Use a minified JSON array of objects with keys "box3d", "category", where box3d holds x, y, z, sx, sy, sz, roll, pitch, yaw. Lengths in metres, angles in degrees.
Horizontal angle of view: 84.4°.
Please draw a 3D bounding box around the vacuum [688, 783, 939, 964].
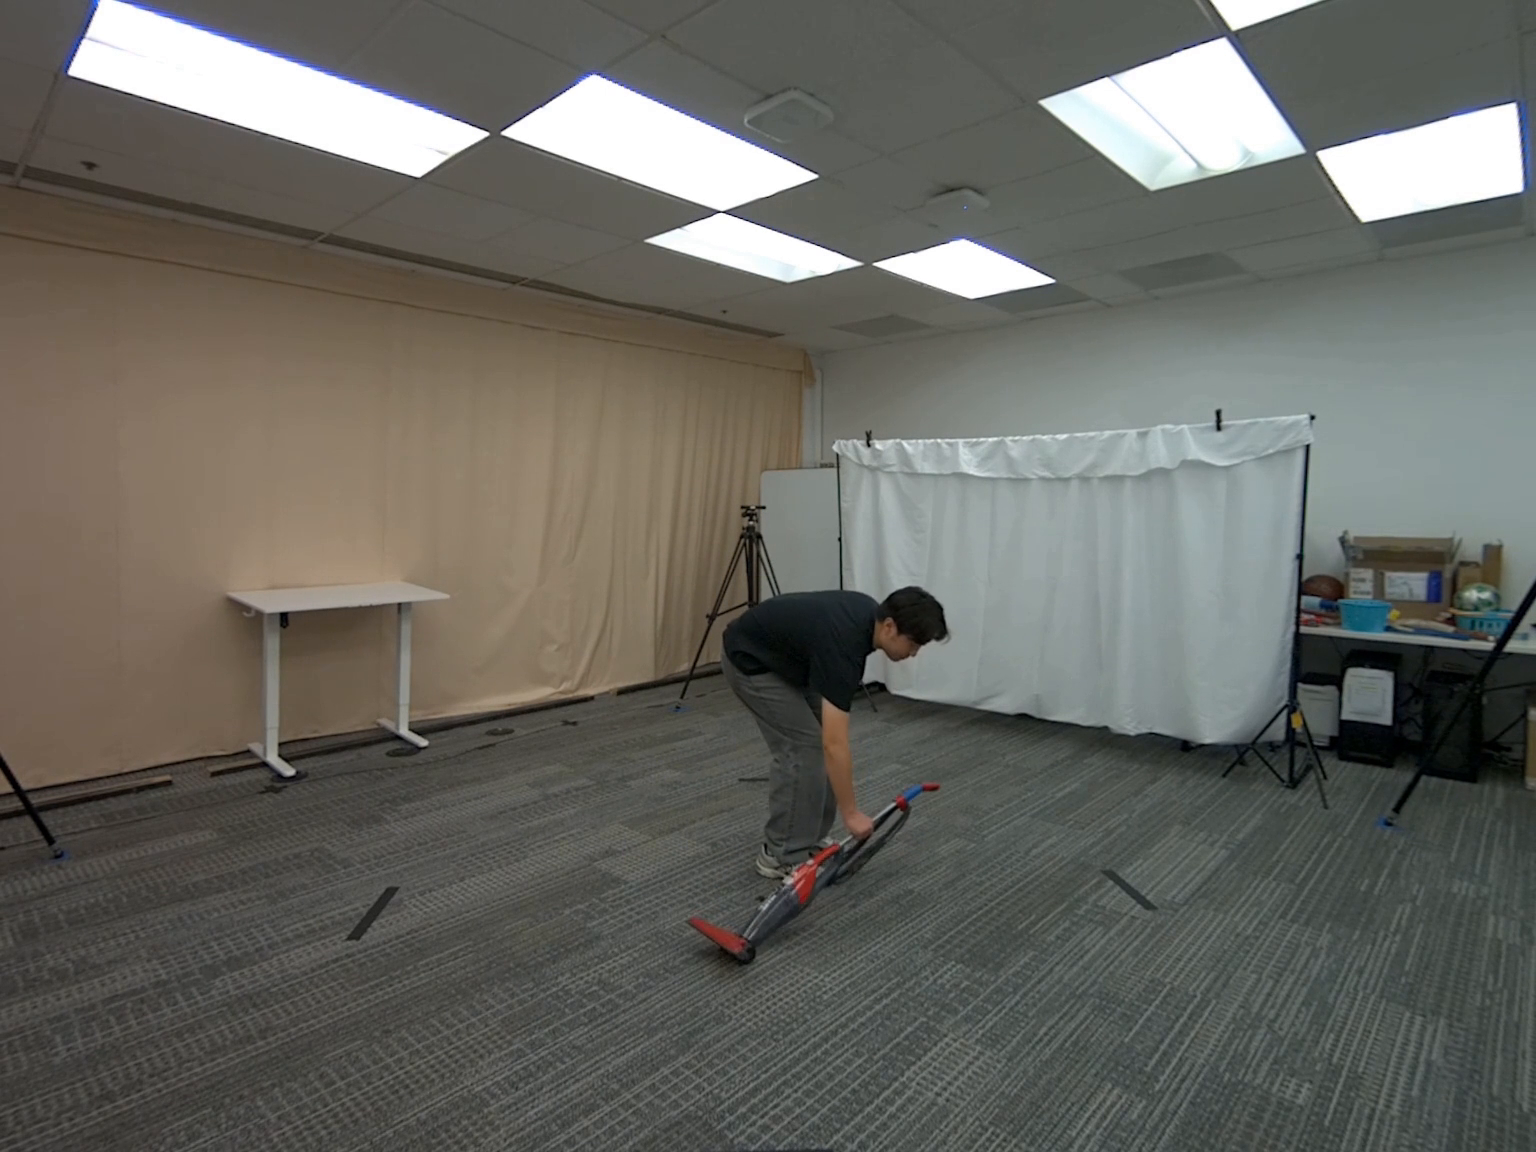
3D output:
[{"box3d":[0.250,0.967,2.866,1.027,0.143,0.260,-23,13,-34],"category":"vacuum"}]
